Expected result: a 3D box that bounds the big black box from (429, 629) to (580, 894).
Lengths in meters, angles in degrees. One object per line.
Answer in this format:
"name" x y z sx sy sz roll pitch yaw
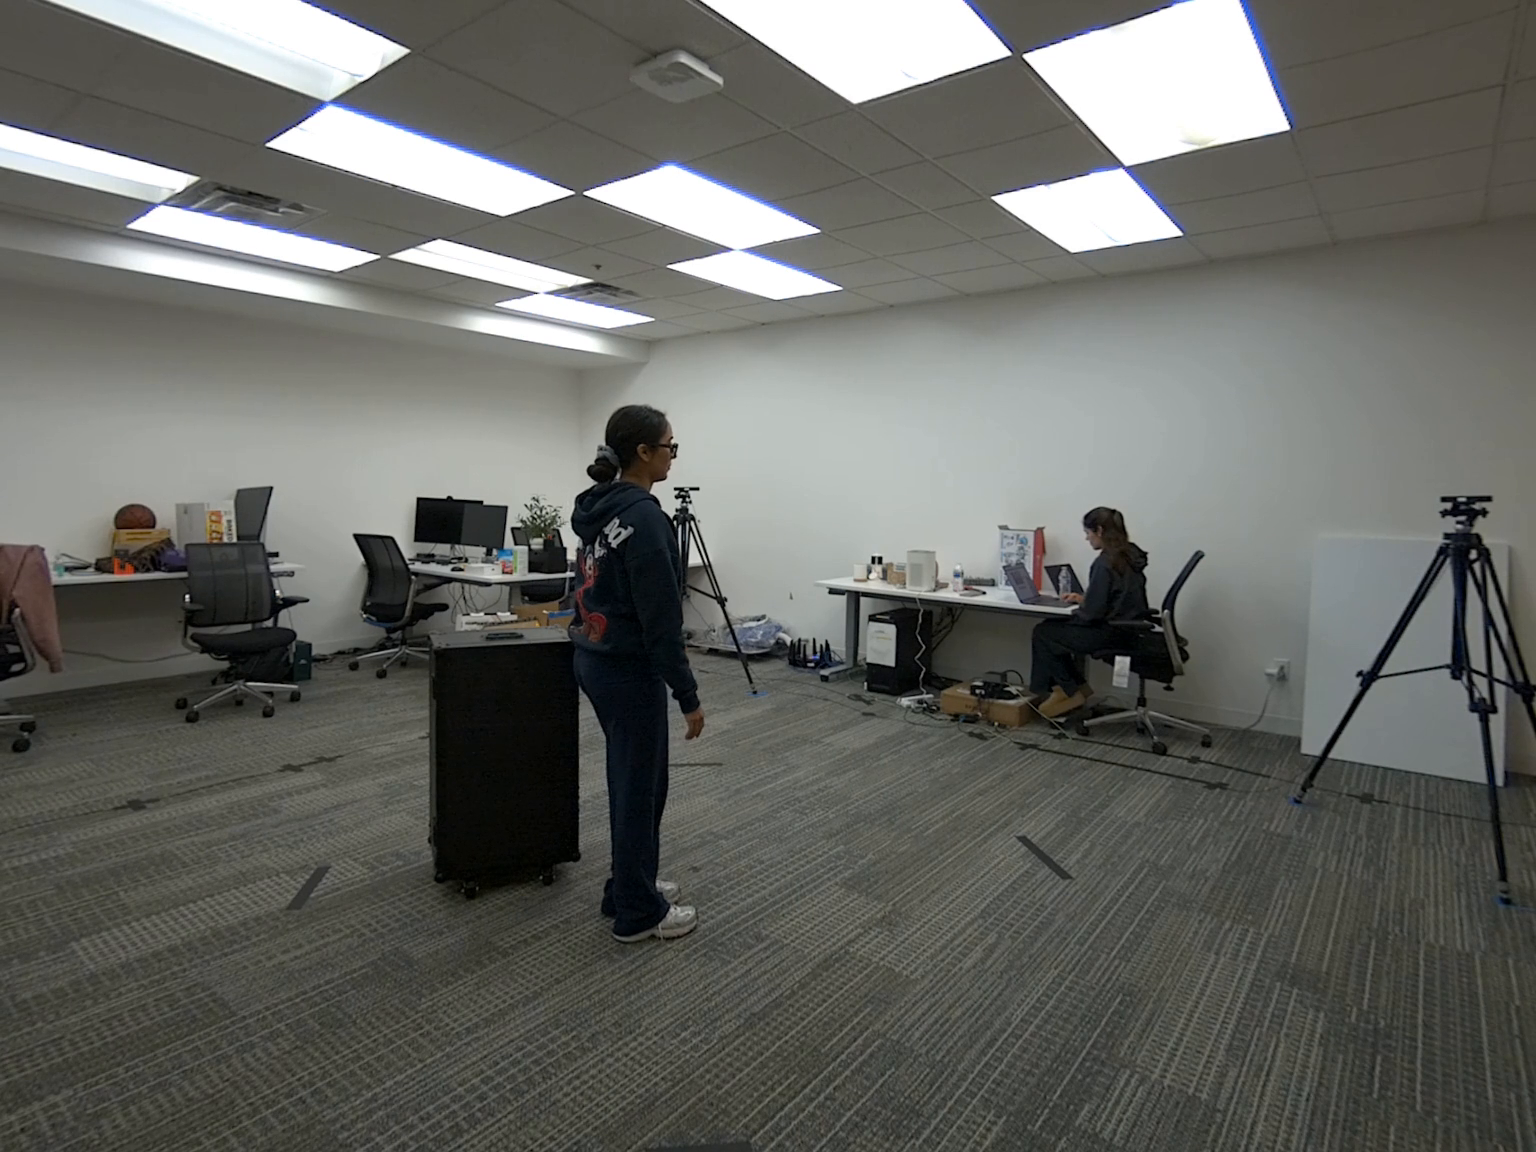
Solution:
"big black box" -0.979 0.641 3.058 0.509 0.860 0.406 -1 2 -24
